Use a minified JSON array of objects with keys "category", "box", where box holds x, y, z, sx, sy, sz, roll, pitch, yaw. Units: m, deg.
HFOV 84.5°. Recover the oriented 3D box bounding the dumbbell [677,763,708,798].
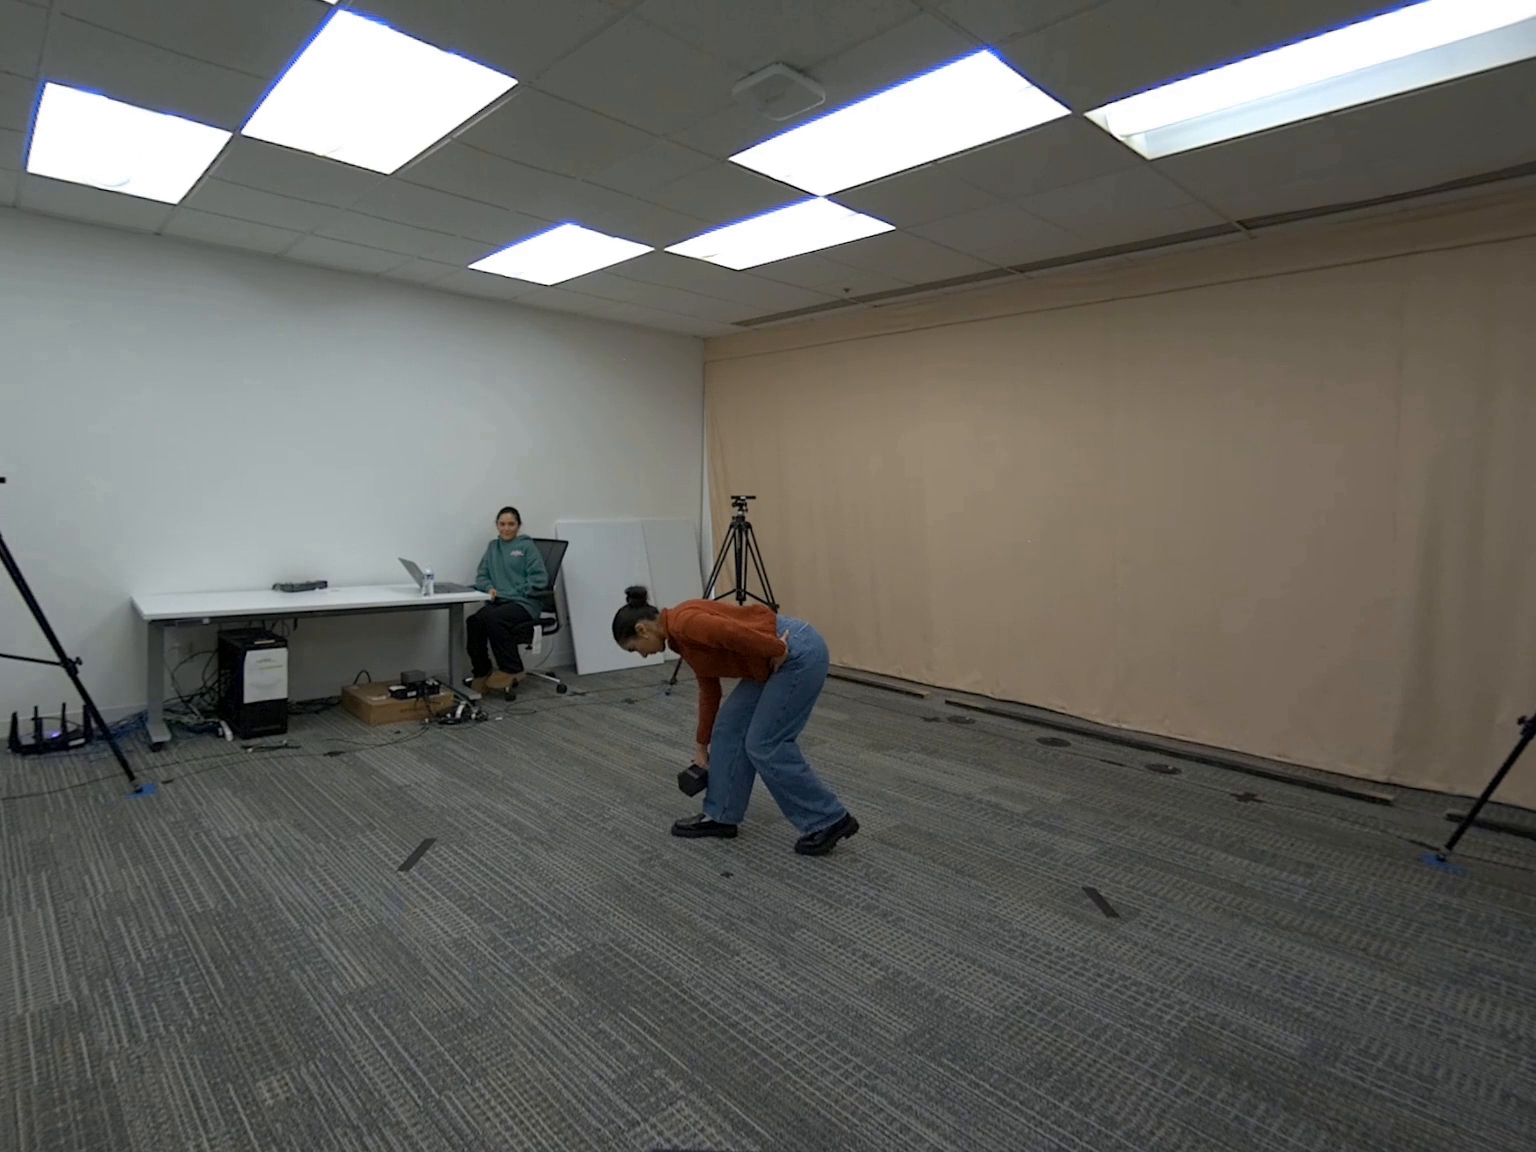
[{"category":"dumbbell","box":[-0.265,0.821,3.540,0.111,0.122,0.289,-1,8,28]}]
